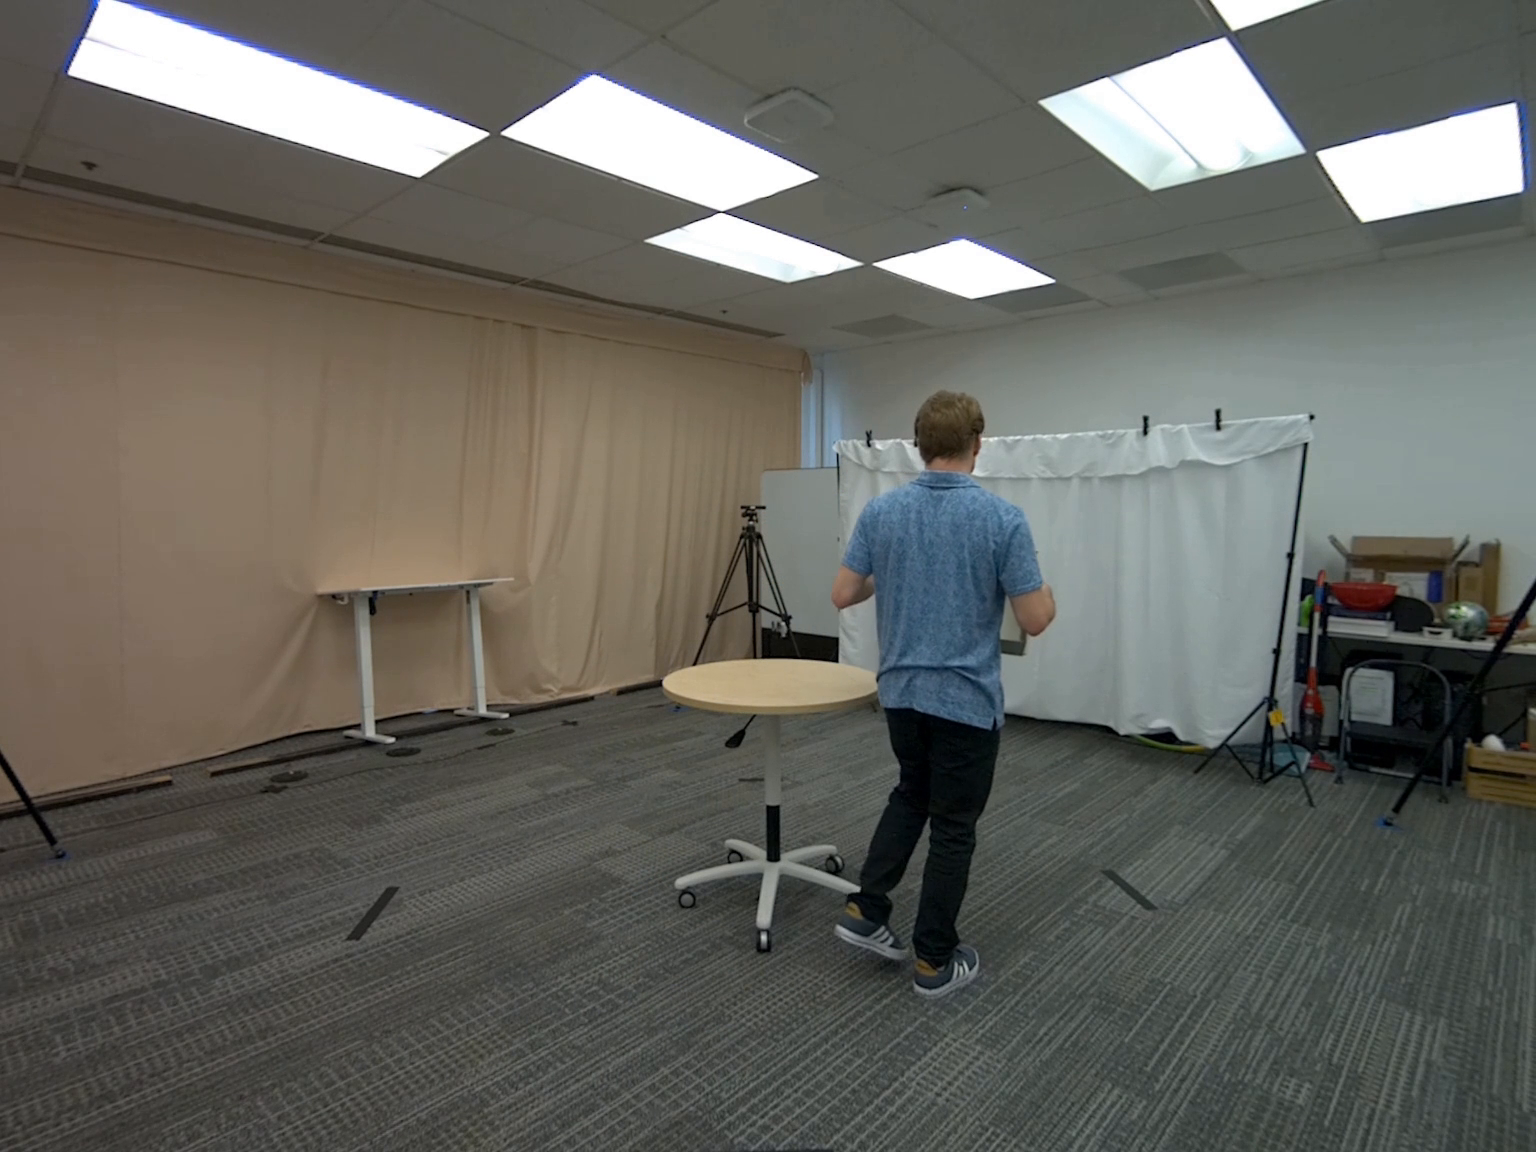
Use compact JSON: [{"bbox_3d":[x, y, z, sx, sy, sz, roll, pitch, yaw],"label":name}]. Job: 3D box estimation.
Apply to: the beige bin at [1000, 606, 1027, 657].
[{"bbox_3d":[0.641,0.075,2.702,0.433,0.185,0.376,5,36,22],"label":"beige bin"}]
